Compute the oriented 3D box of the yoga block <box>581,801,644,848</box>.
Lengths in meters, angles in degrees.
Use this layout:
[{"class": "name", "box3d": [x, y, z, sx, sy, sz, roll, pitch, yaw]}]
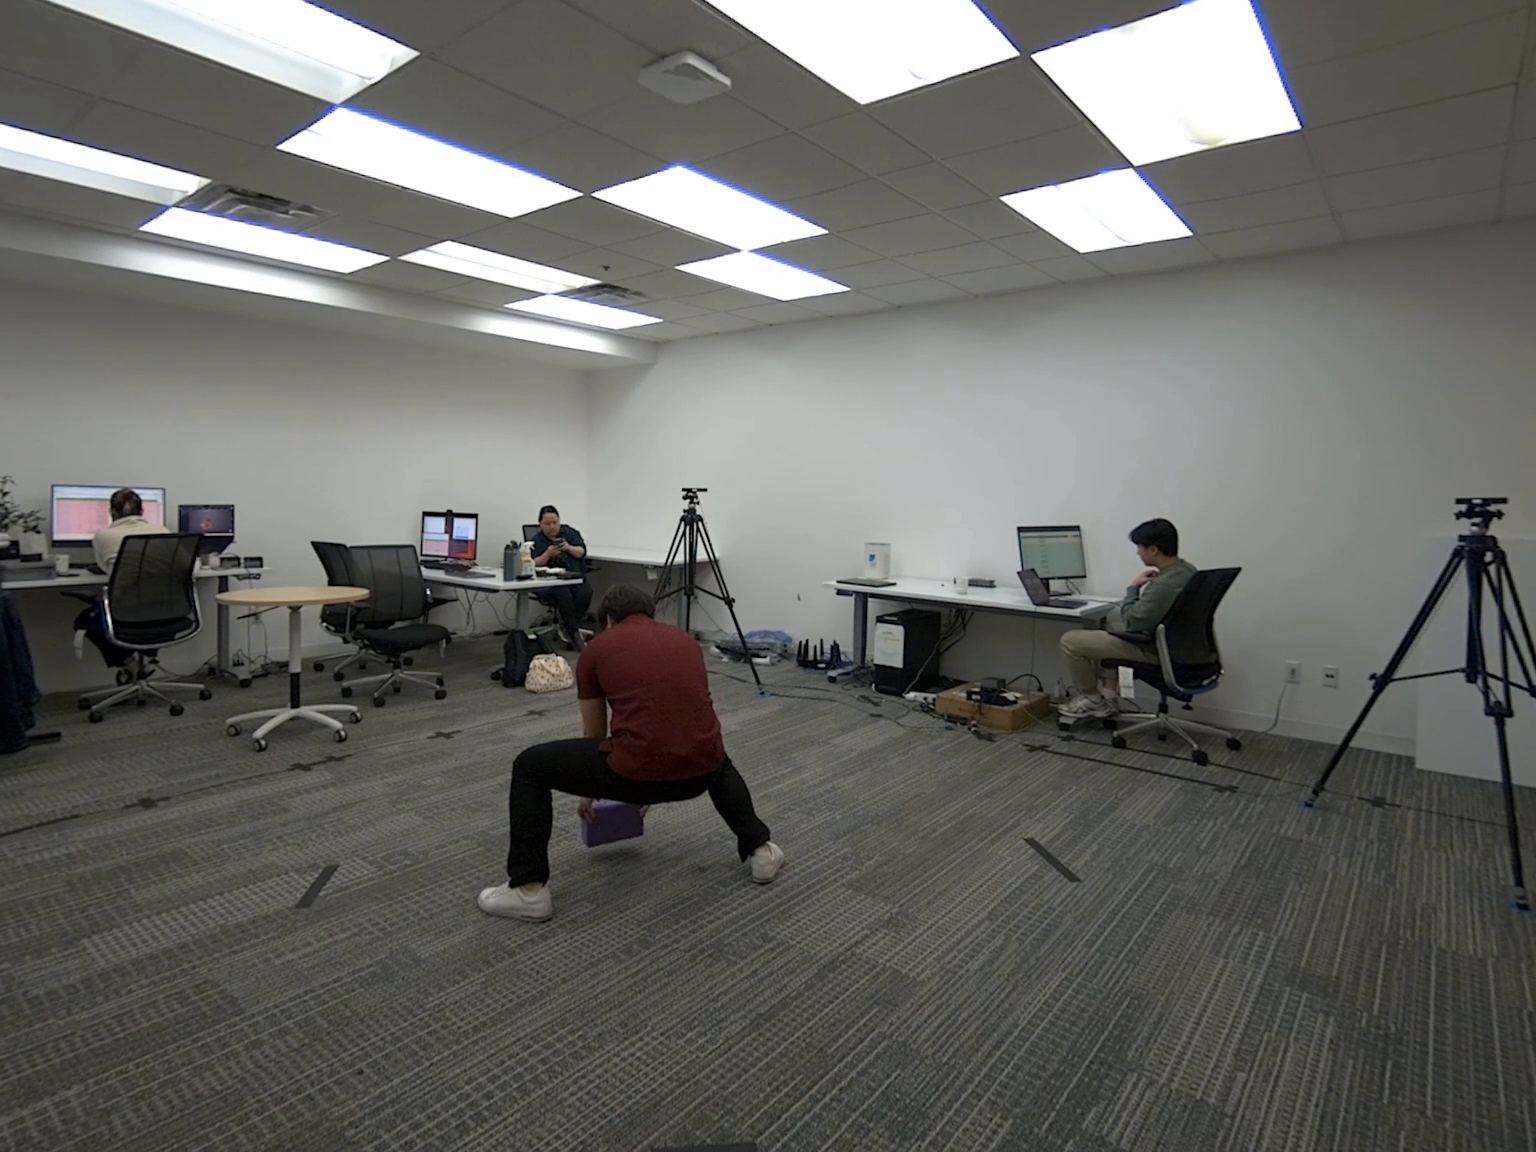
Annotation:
[{"class": "yoga block", "box3d": [-0.604, 0.922, 3.239, 0.224, 0.148, 0.078, -5, 5, -27]}]
